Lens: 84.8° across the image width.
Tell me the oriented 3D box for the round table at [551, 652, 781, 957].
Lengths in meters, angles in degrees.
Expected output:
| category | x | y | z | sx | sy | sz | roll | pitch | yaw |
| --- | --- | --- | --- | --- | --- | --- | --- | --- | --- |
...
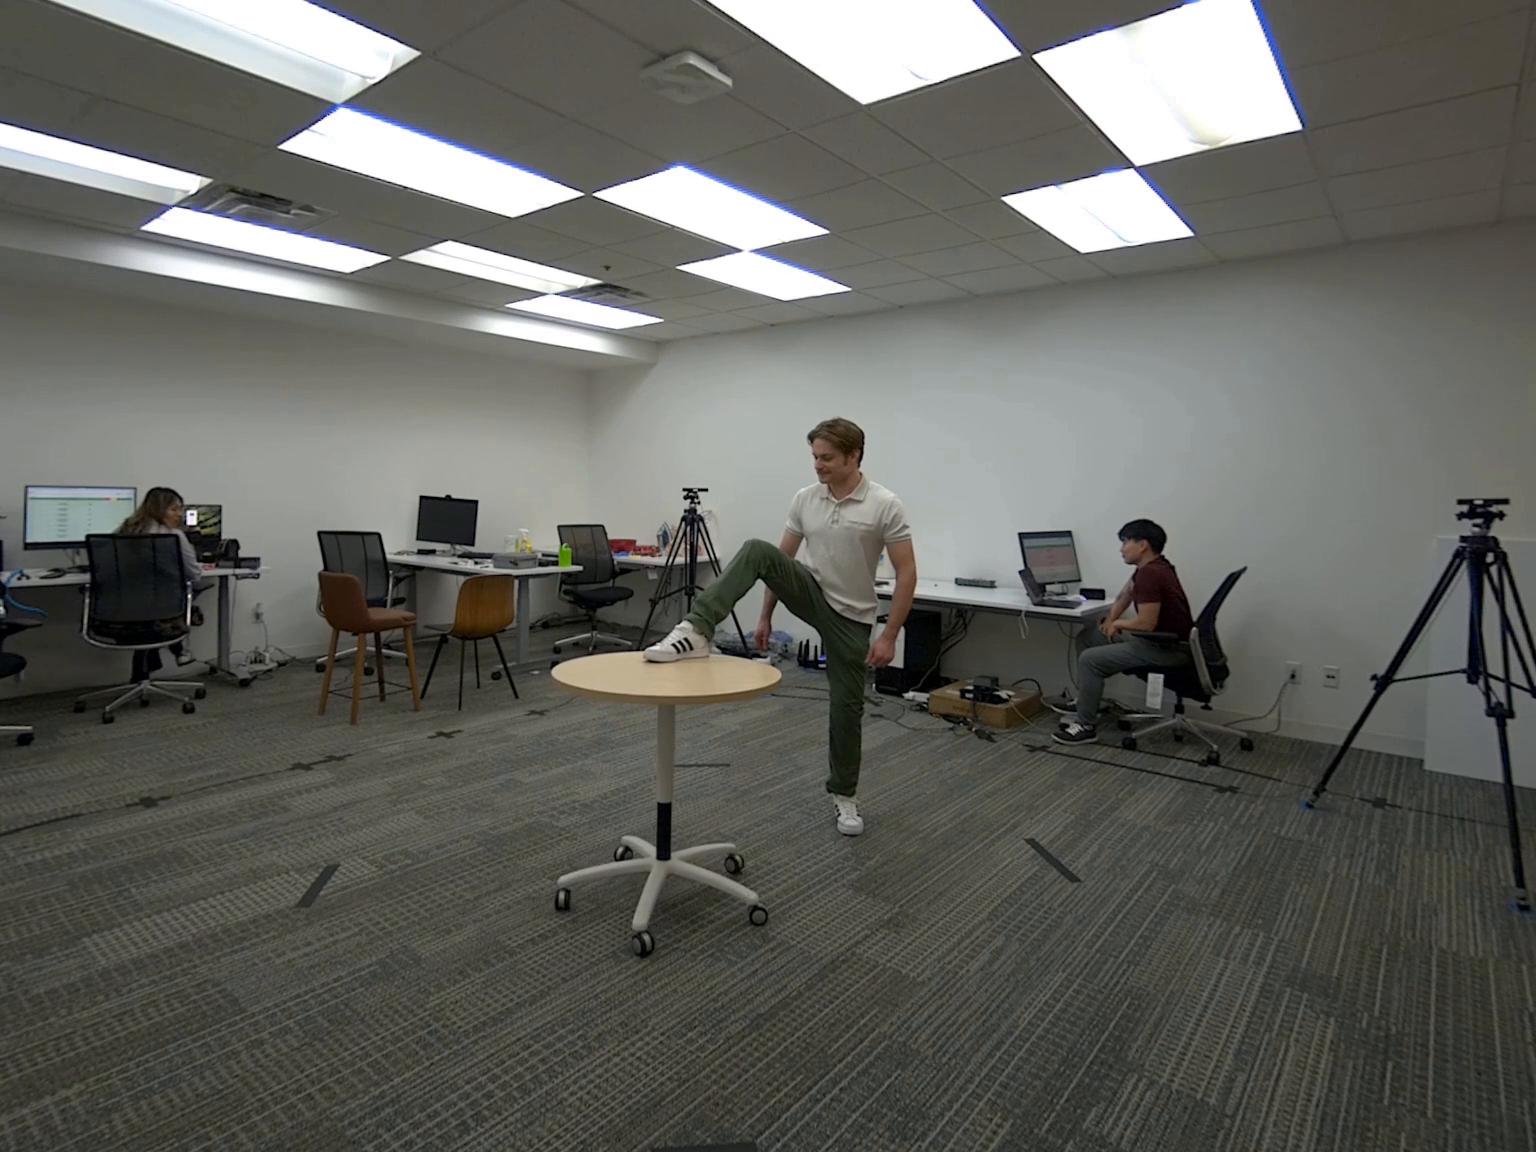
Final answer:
| category | x | y | z | sx | sy | sz | roll | pitch | yaw |
| --- | --- | --- | --- | --- | --- | --- | --- | --- | --- |
| round table | -0.357 | 0.704 | 2.858 | 0.763 | 0.792 | 0.767 | 1 | 3 | -2 |
